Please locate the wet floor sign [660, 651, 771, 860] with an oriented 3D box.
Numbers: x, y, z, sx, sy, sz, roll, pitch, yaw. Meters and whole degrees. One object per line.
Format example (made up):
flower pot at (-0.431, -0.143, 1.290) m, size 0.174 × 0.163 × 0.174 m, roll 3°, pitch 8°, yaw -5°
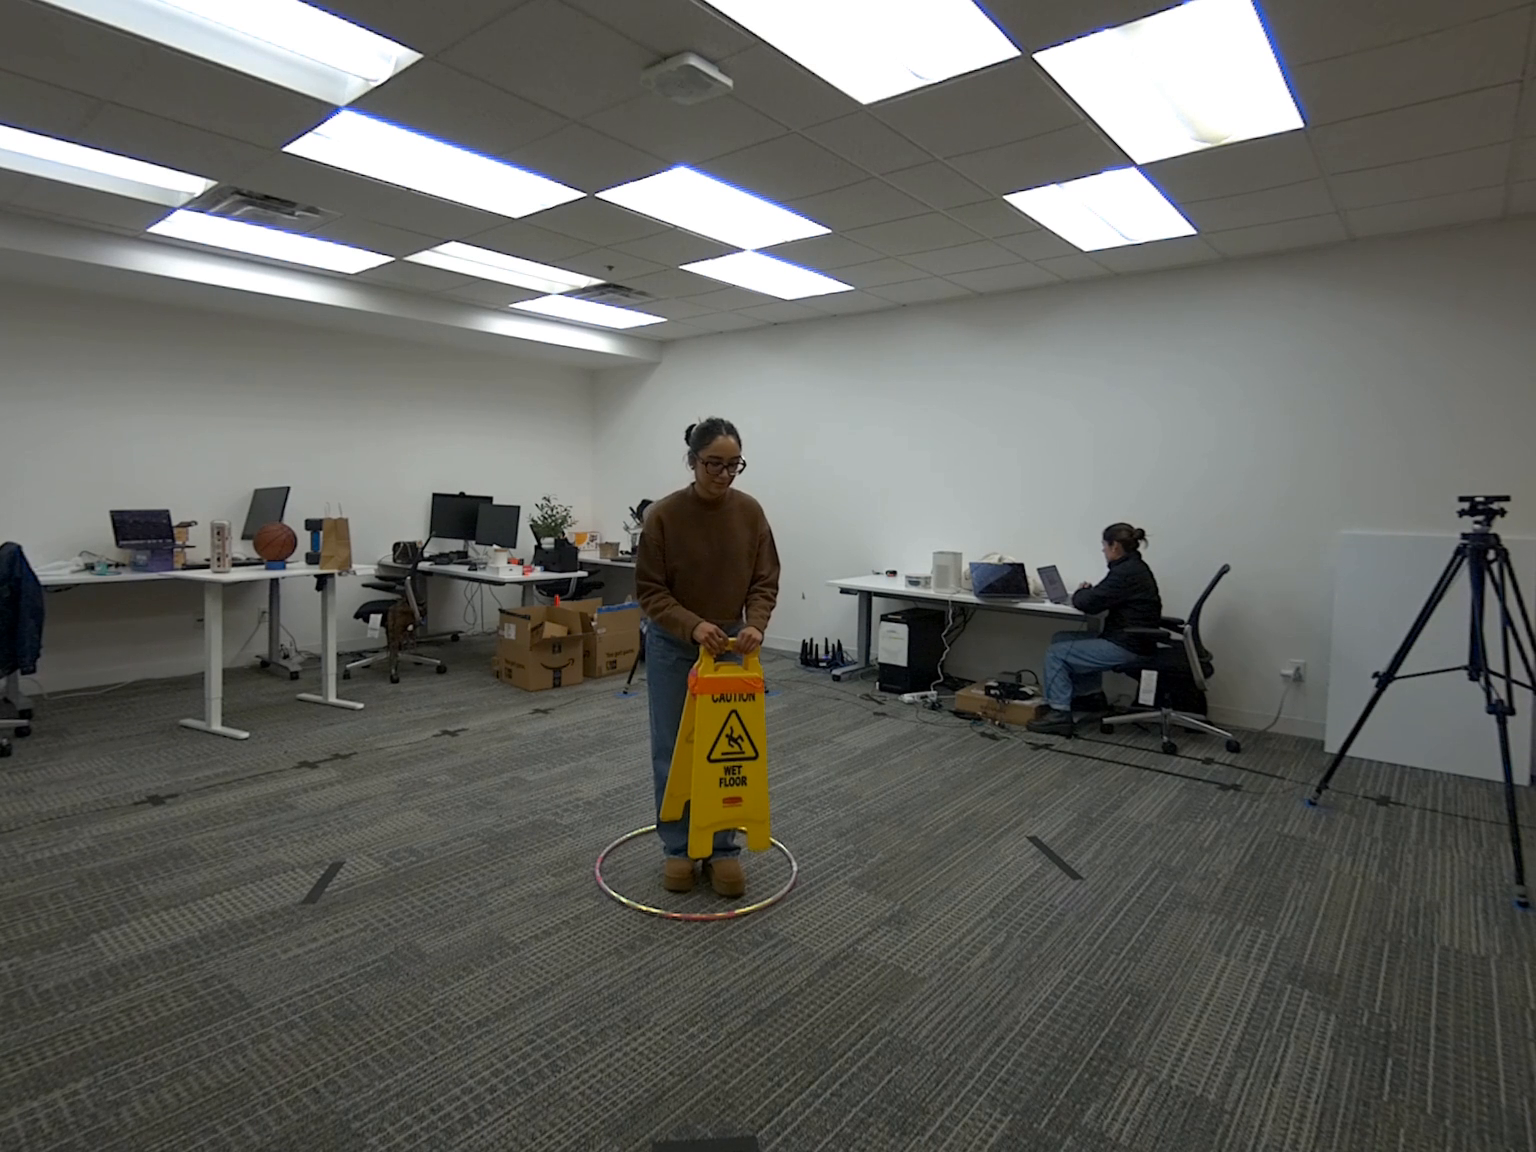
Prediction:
wet floor sign at (-0.152, 0.516, 2.715) m, size 0.275 × 0.642 × 0.299 m, roll 1°, pitch 8°, yaw -25°
